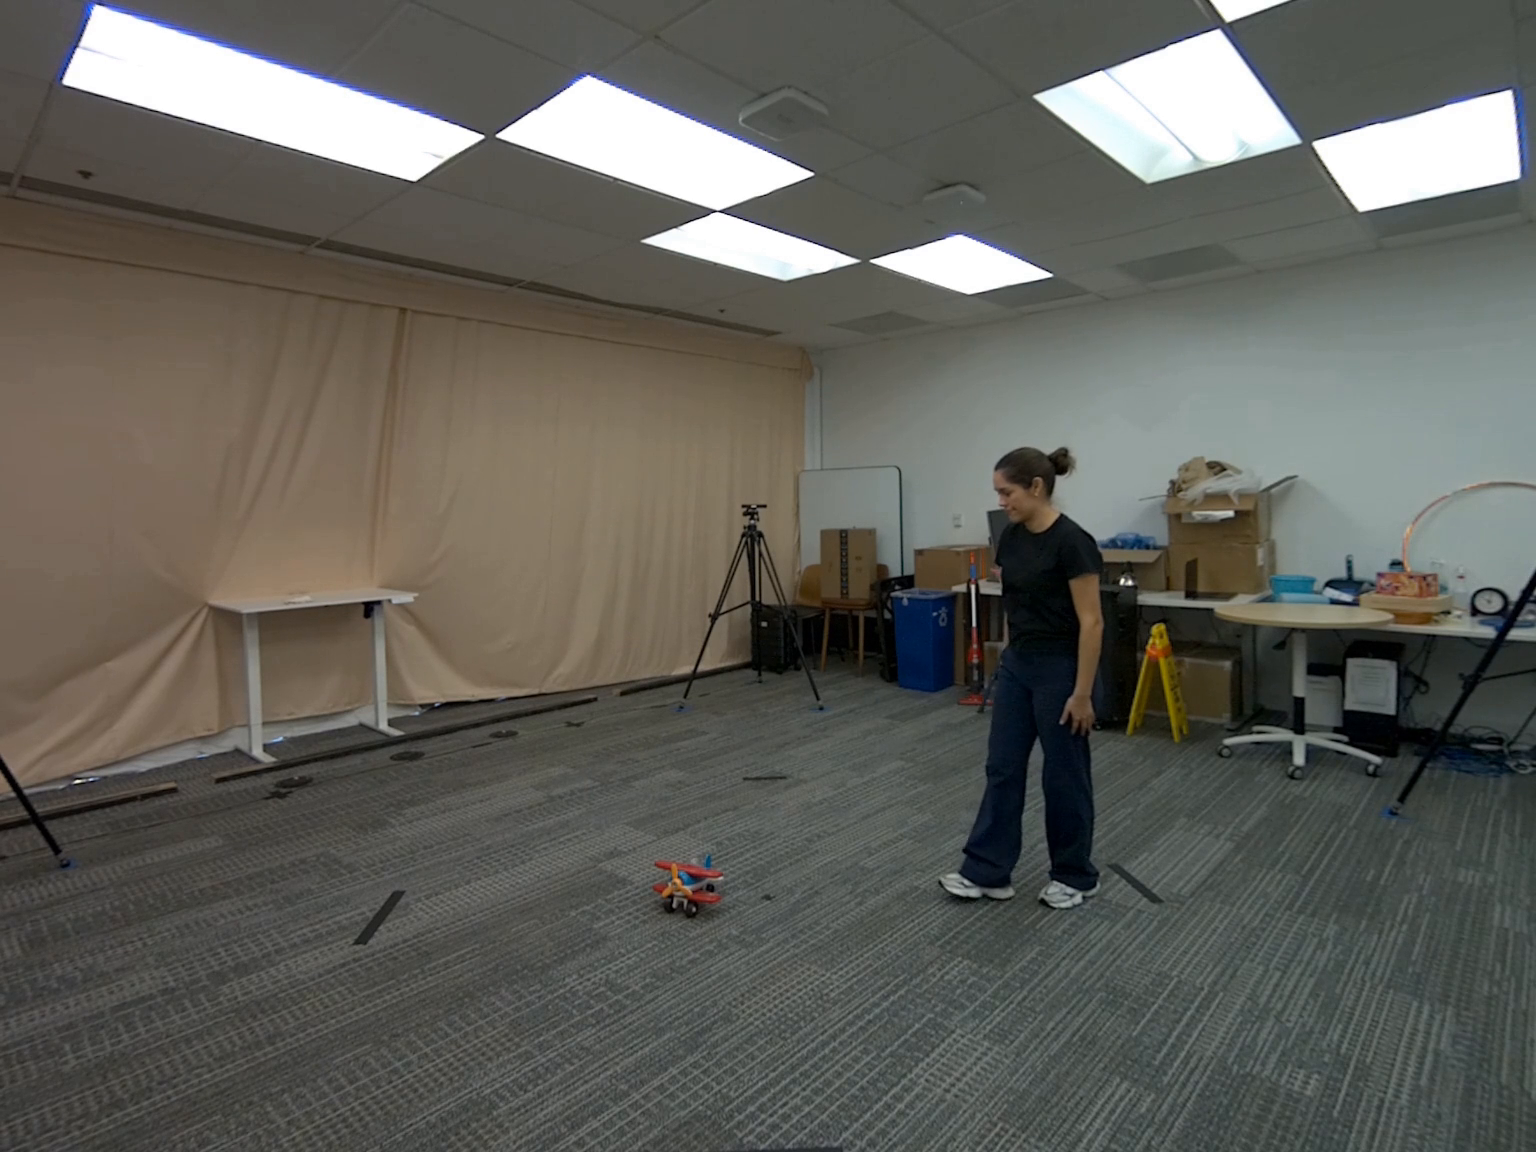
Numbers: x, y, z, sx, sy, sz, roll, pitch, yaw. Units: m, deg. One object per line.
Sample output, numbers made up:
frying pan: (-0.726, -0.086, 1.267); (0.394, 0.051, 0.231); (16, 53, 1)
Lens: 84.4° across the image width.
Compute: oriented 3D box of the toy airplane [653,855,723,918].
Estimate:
toy airplane: (-0.264, 1.077, 2.954); (0.251, 0.156, 0.260); (-2, 6, -2)
